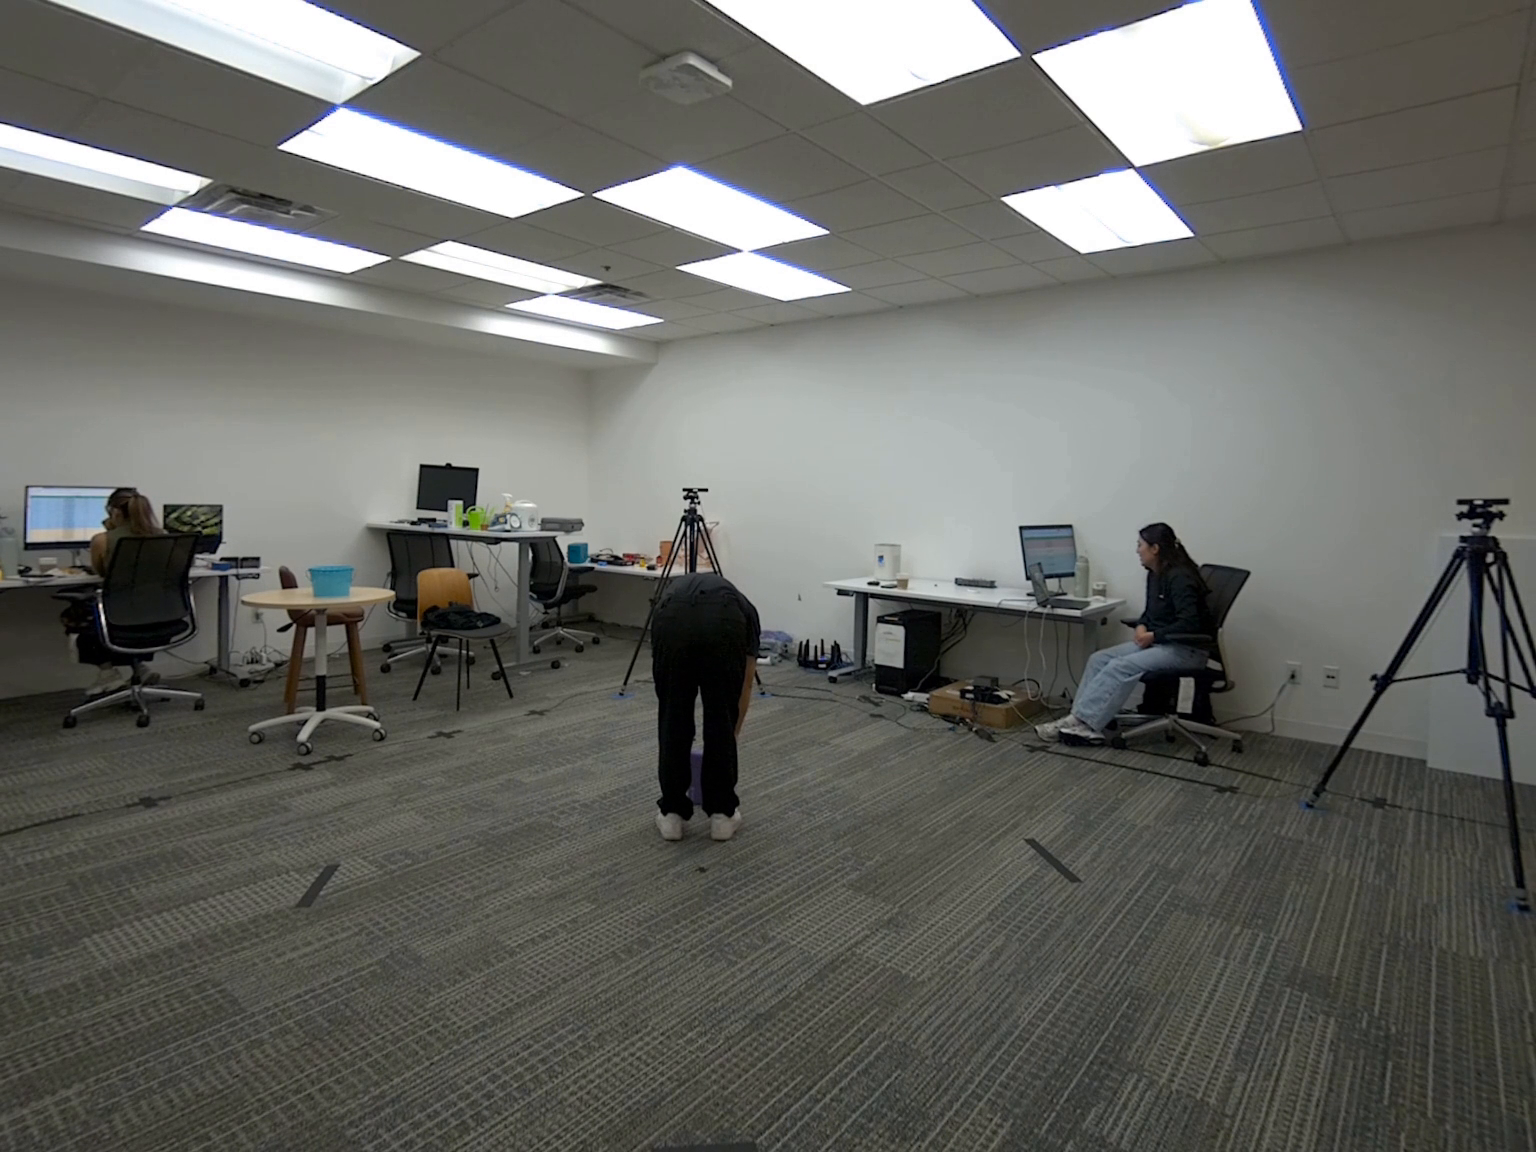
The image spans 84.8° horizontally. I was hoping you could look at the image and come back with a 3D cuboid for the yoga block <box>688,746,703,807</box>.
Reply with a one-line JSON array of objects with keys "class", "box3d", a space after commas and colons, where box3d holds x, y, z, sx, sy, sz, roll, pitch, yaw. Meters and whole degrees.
[{"class": "yoga block", "box3d": [-0.287, 0.885, 3.760, 0.150, 0.229, 0.076, 2, 3, 5]}]
